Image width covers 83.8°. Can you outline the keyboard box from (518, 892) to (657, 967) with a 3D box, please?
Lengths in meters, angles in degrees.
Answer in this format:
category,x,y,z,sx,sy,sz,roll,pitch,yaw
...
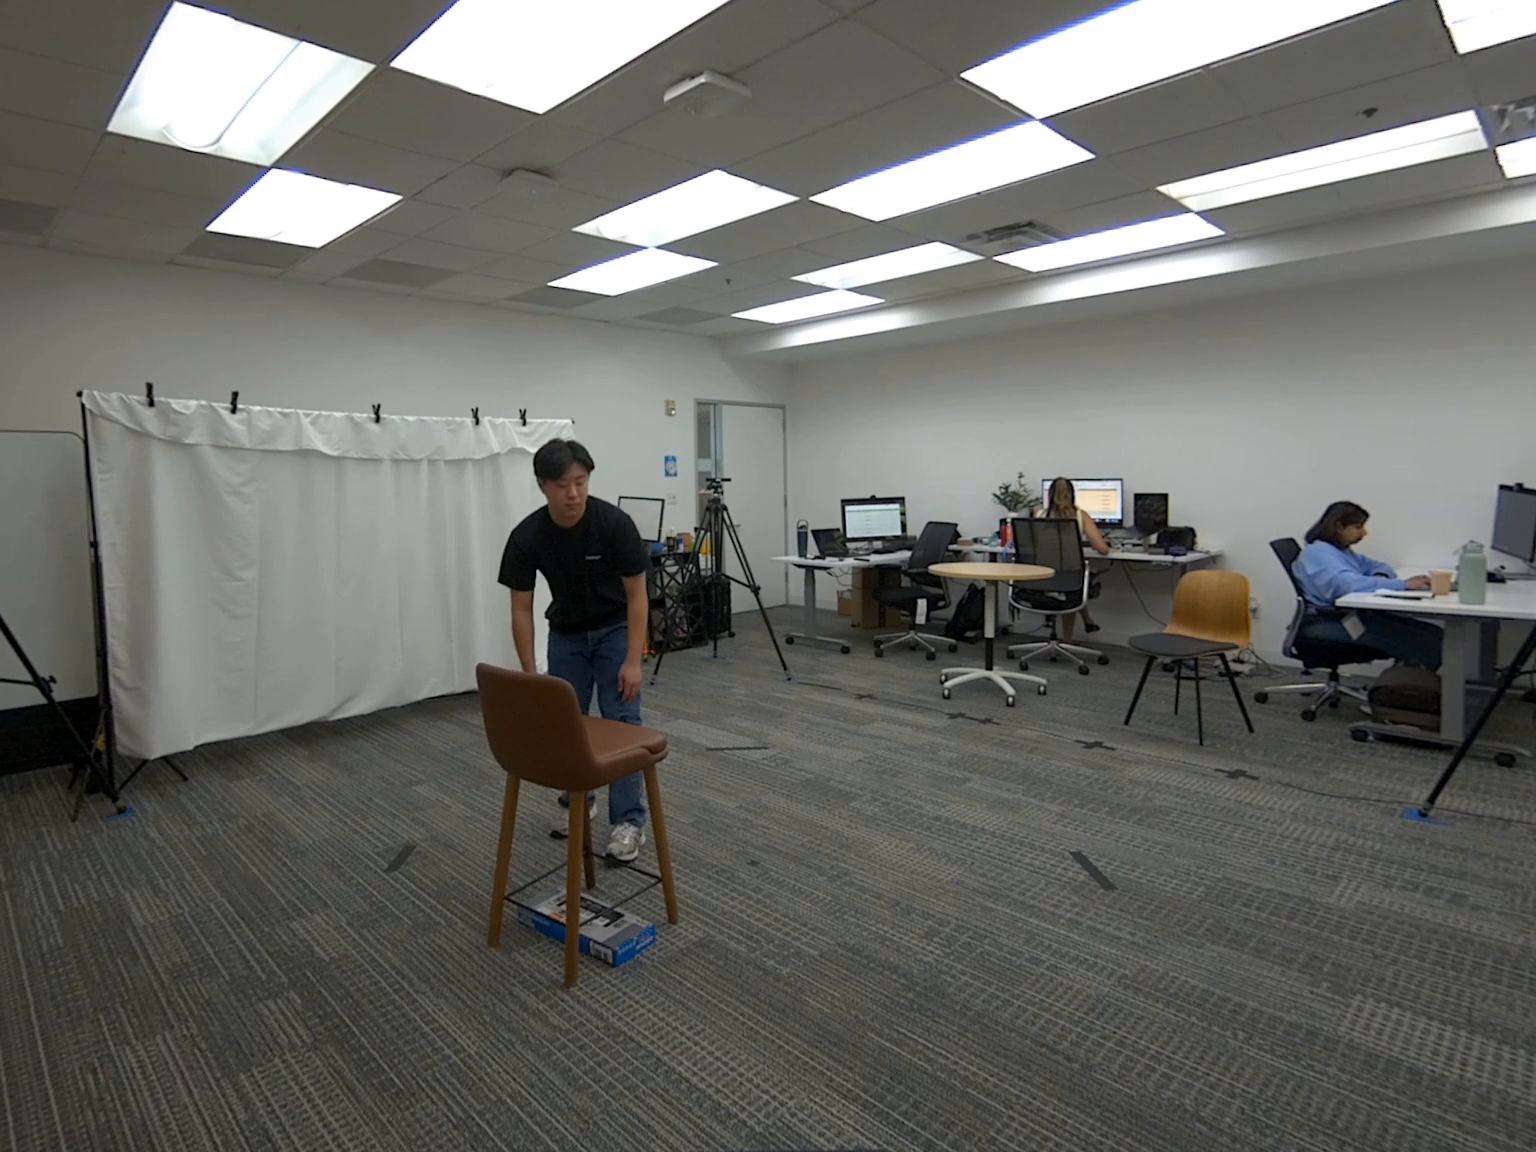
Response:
category,x,y,z,sx,sy,sz,roll,pitch,yaw
keyboard box,-0.571,1.081,2.650,0.450,0.059,0.172,4,8,37
